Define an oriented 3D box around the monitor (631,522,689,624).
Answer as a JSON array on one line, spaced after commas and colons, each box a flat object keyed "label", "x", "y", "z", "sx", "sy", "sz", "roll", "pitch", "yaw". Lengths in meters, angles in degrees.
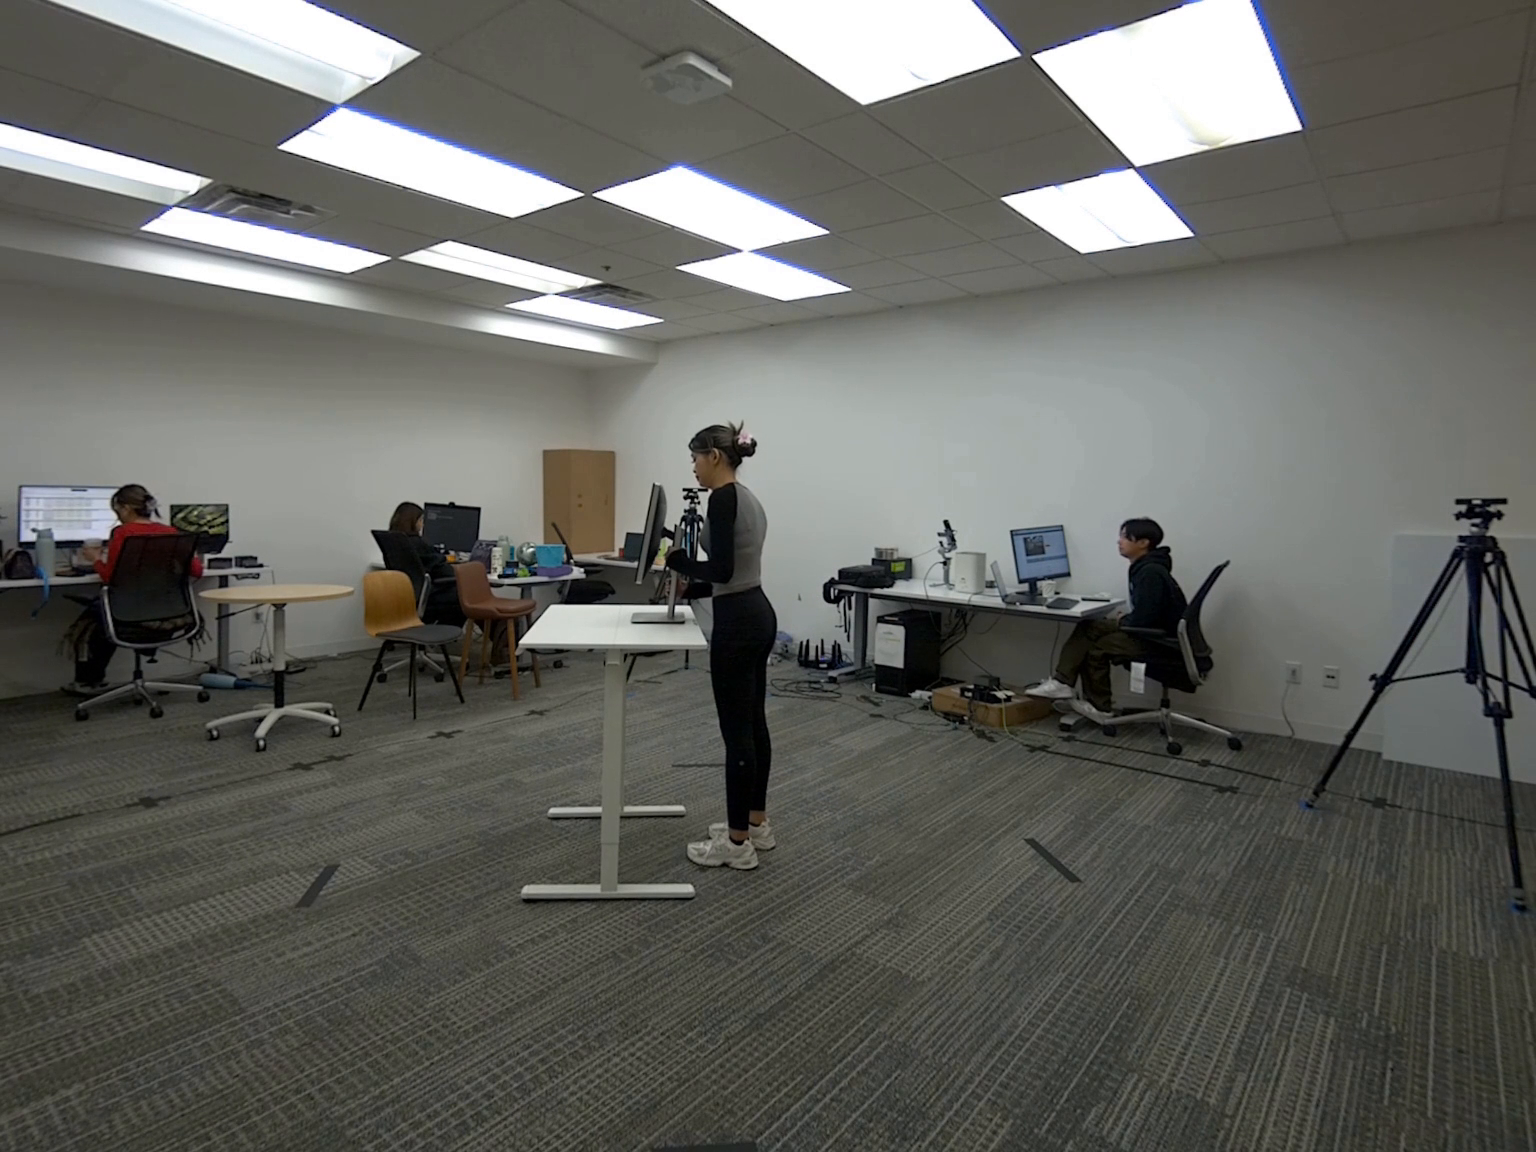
[{"label": "monitor", "x": -0.428, "y": -0.090, "z": 3.287, "sx": 0.186, "sy": 0.521, "sz": 0.544, "roll": -1, "pitch": 4, "yaw": -7}]
